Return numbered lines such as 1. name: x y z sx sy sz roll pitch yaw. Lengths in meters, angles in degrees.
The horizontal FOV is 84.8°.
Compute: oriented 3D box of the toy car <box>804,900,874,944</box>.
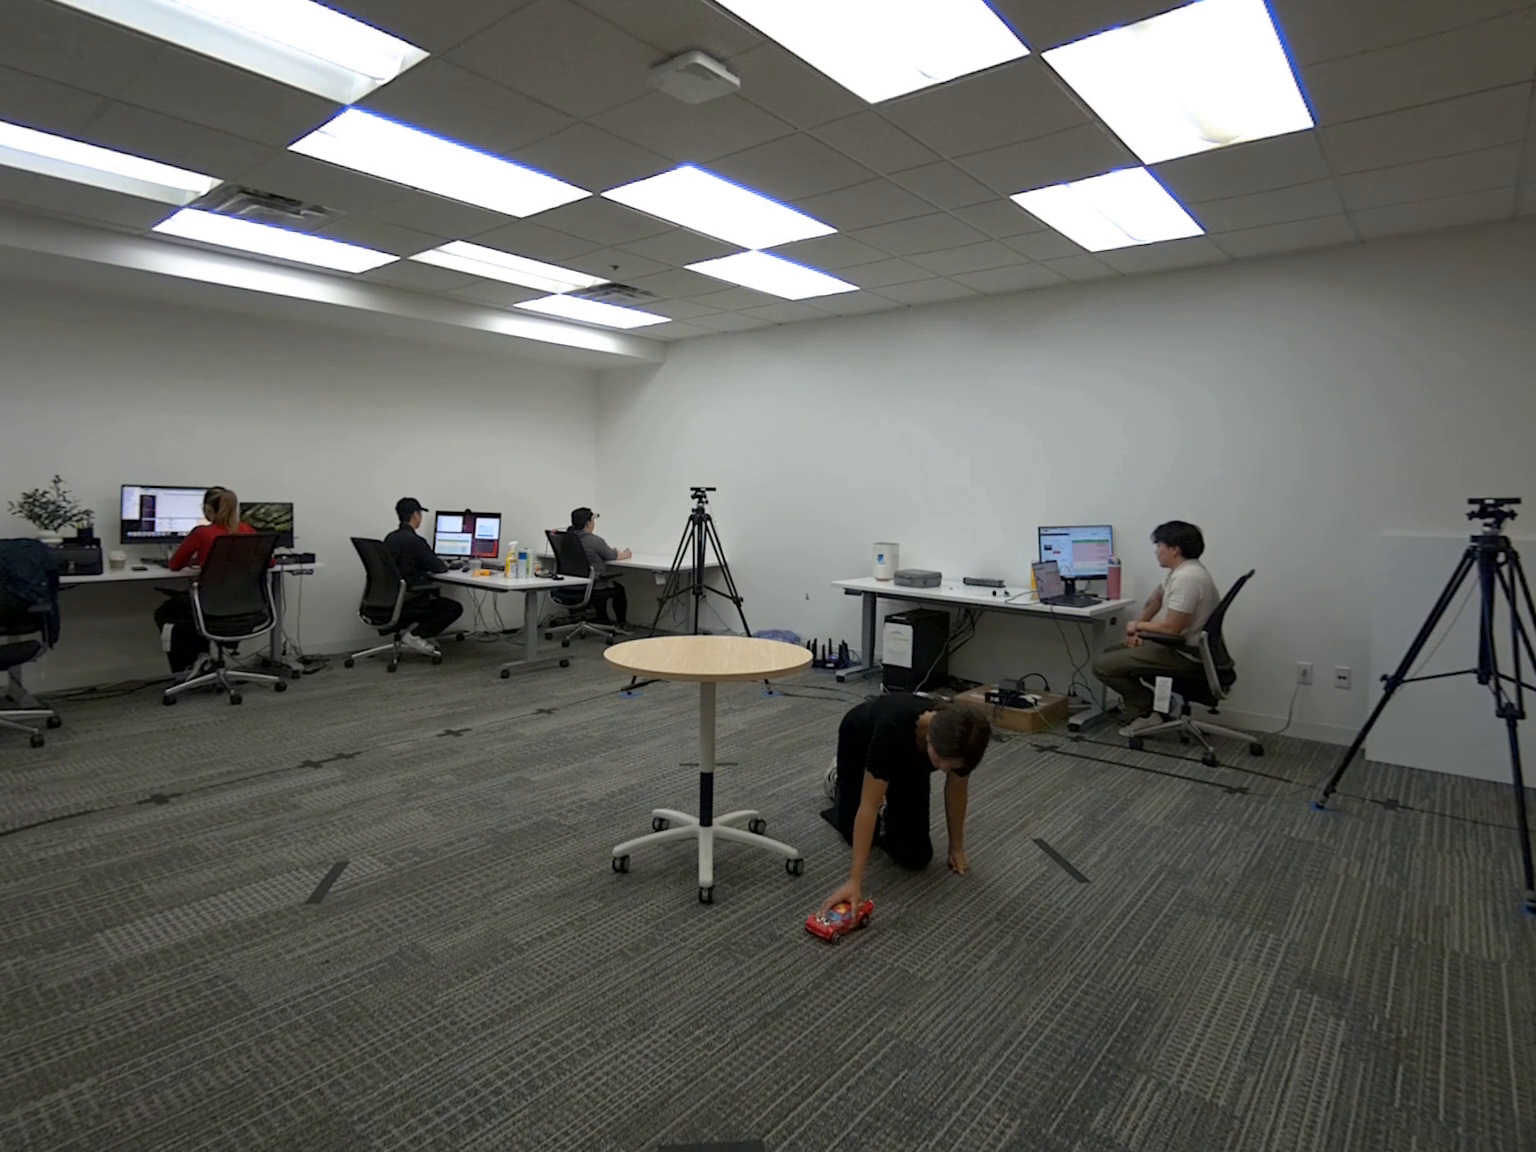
1. toy car: 0.234 1.085 2.711 0.135 0.082 0.249 5 17 45
